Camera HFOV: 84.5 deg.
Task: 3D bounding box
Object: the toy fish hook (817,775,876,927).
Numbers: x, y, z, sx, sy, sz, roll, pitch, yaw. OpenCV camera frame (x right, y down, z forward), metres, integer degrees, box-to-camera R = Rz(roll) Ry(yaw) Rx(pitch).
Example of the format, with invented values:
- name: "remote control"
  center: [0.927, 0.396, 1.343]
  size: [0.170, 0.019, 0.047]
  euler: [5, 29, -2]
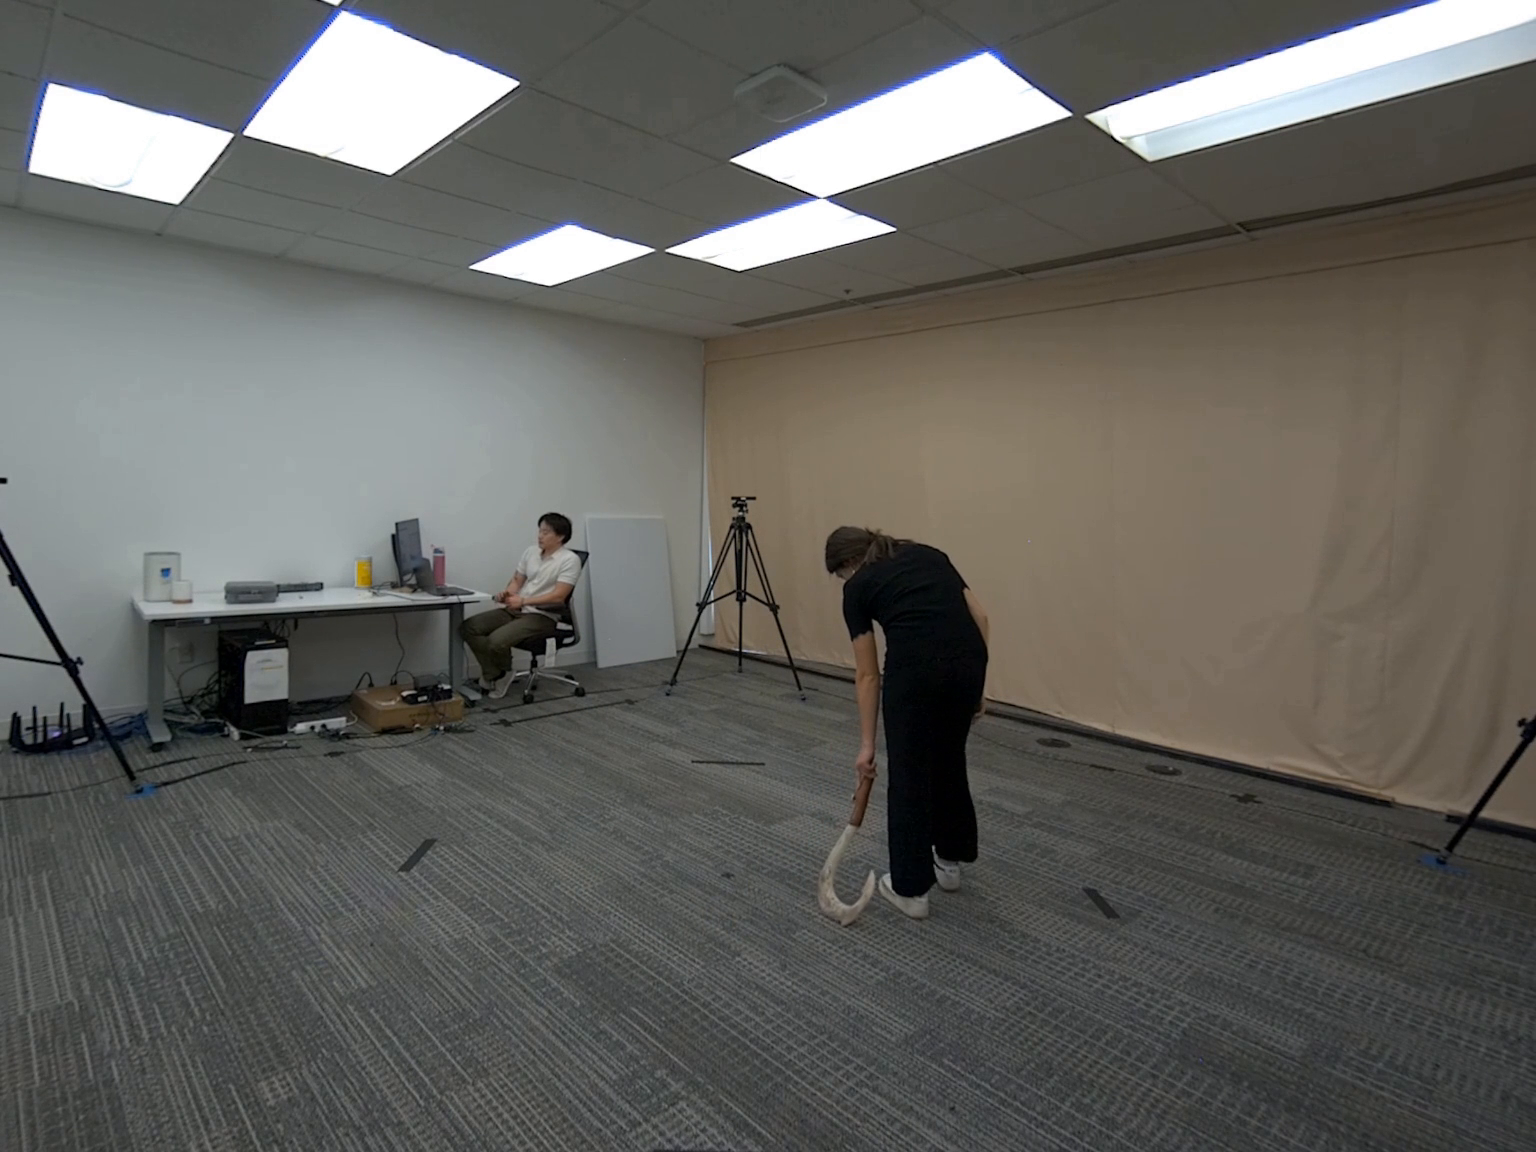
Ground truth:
- name: "toy fish hook"
  center: [0.302, 0.908, 2.837]
  size: [0.230, 0.509, 0.047]
  euler: [8, -16, 47]
